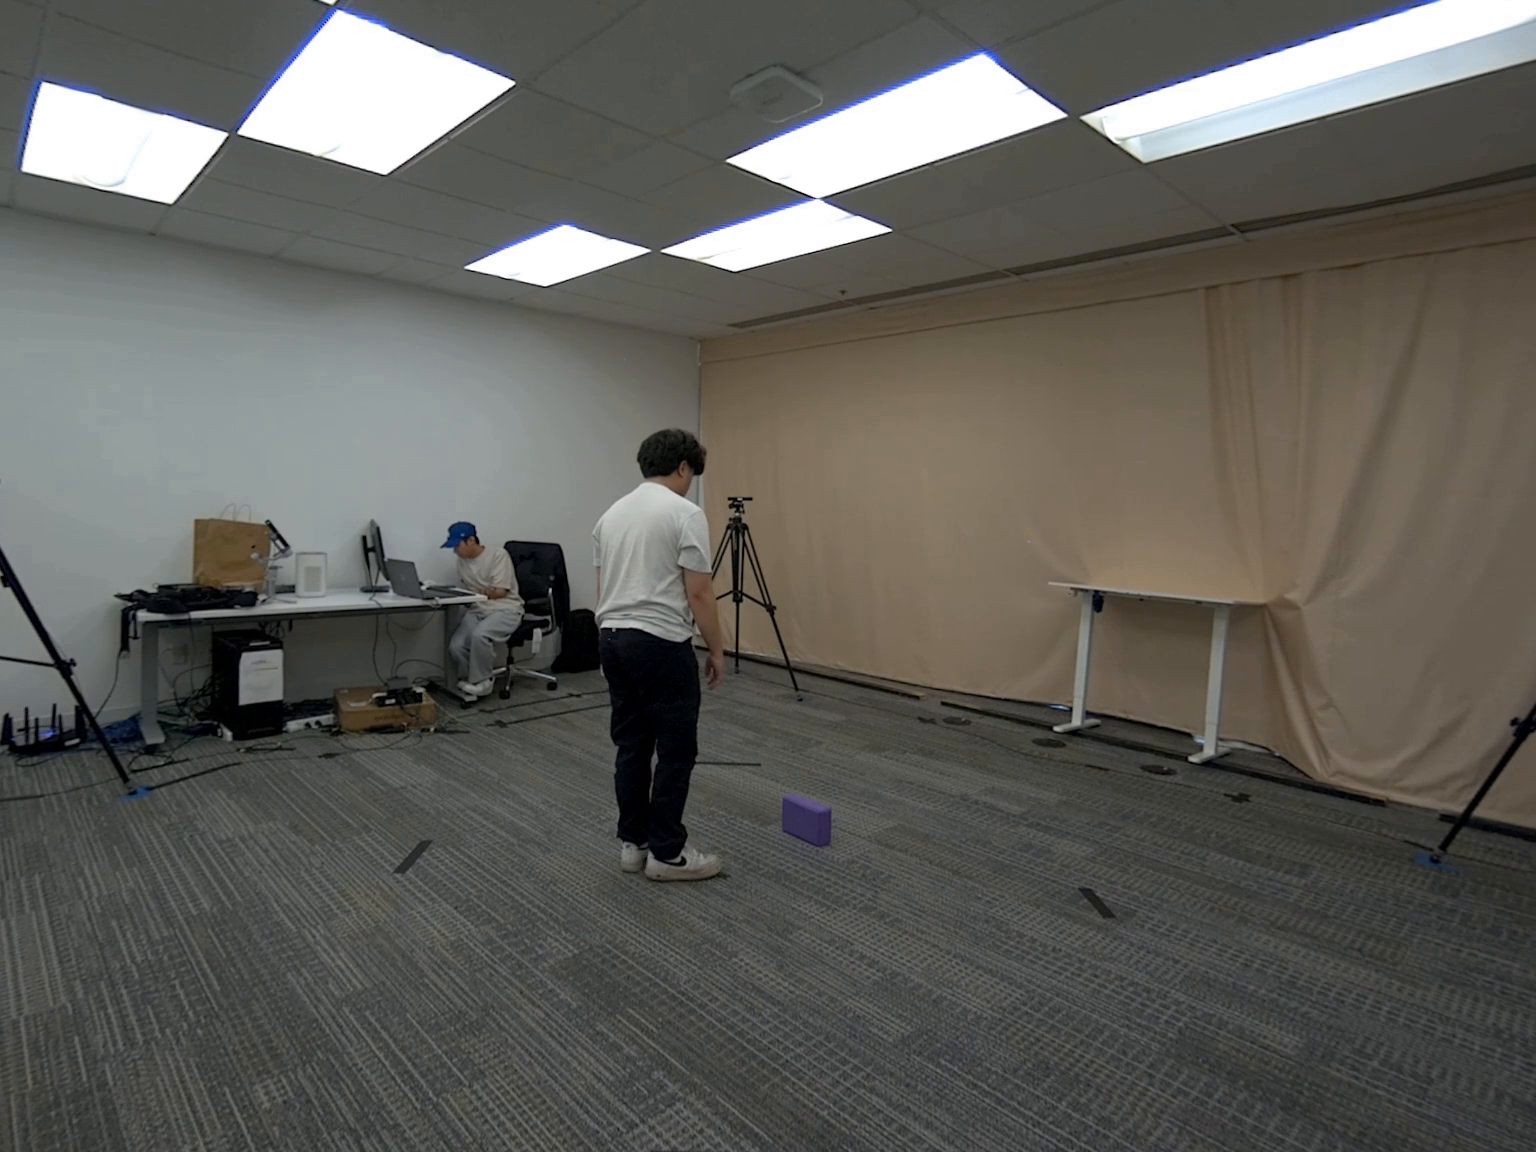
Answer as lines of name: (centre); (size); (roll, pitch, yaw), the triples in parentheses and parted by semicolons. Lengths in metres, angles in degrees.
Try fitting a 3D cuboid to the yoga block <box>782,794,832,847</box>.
yoga block: (0.150, 1.008, 3.488); (0.074, 0.149, 0.235); (0, 4, -41)
